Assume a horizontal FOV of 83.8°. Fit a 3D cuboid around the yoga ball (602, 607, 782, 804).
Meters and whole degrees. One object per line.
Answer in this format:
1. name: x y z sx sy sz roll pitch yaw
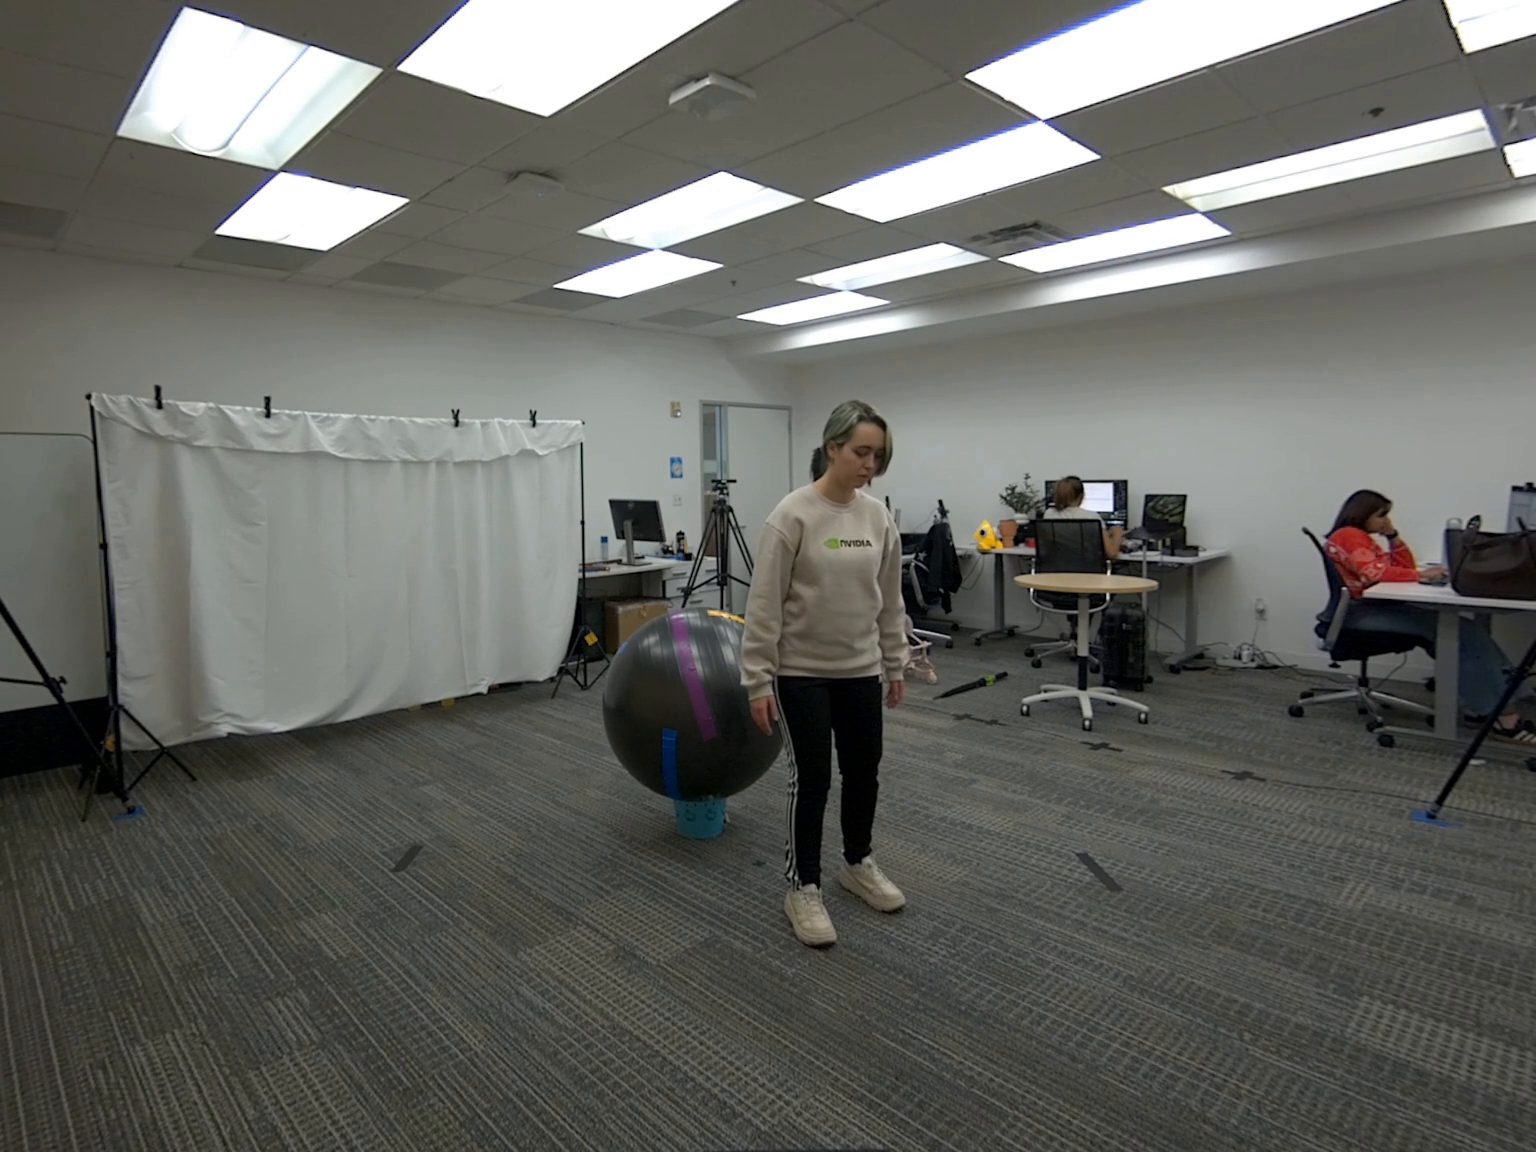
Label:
1. yoga ball: -0.274 0.510 3.401 0.757 0.755 0.762 -1 5 -2
